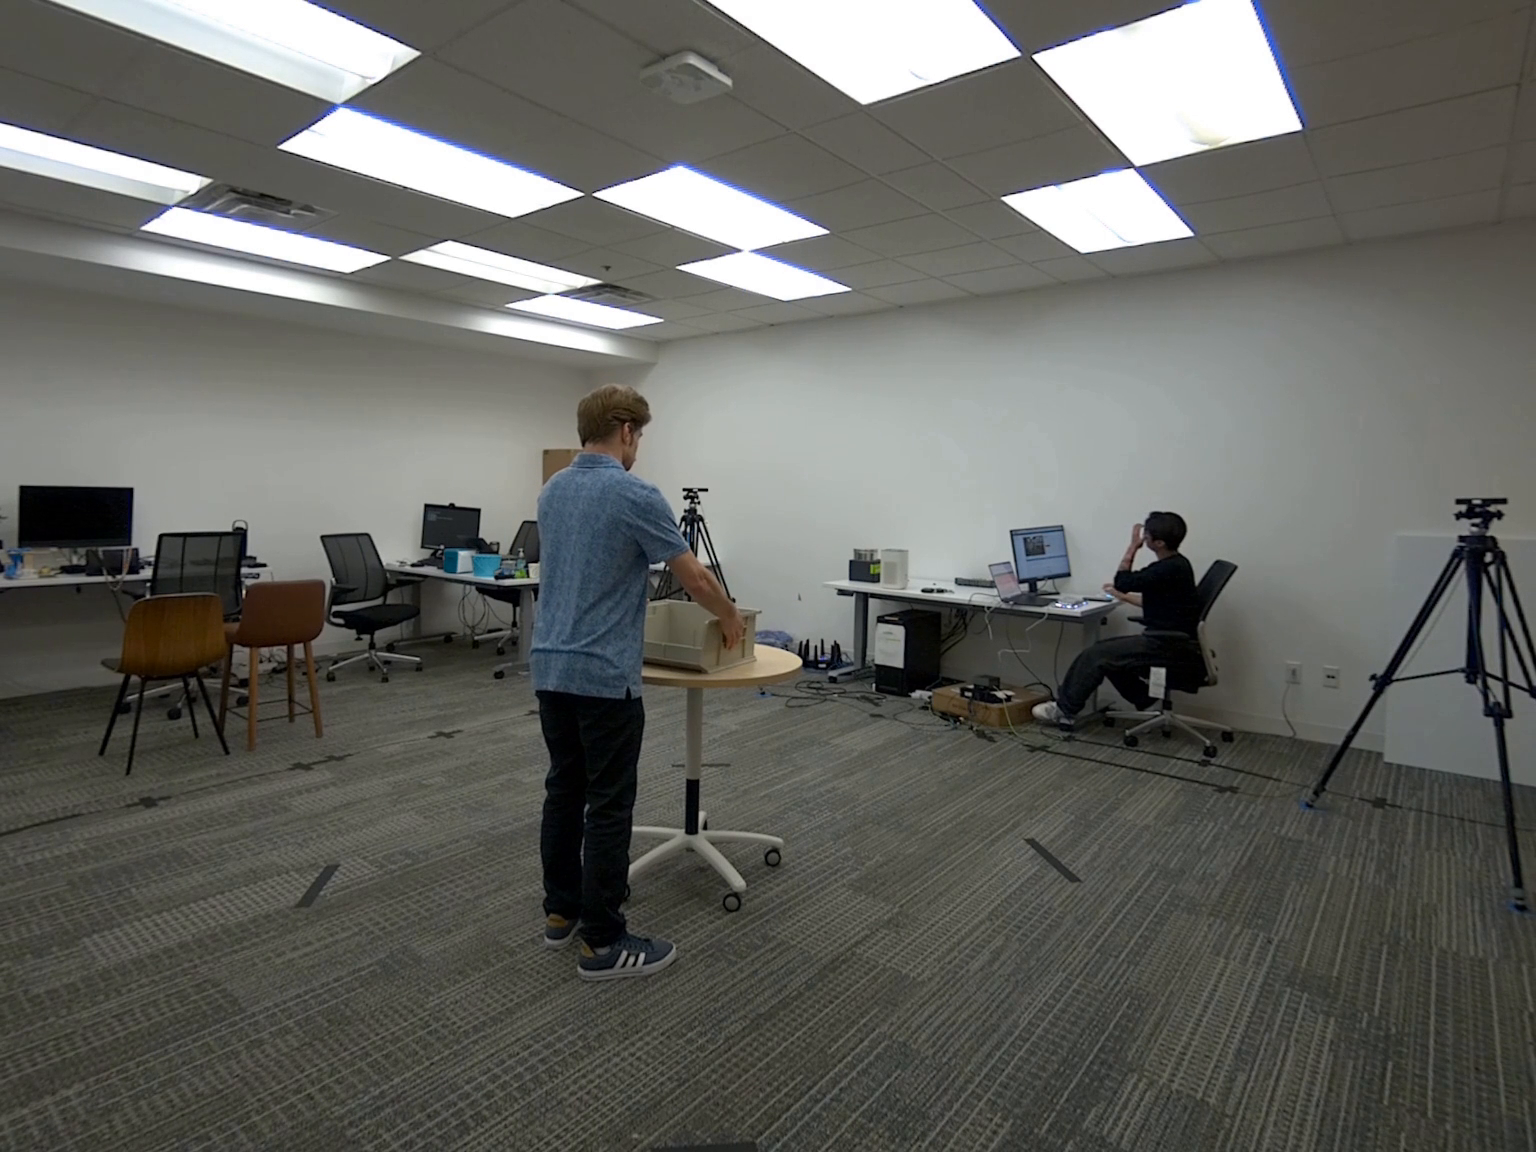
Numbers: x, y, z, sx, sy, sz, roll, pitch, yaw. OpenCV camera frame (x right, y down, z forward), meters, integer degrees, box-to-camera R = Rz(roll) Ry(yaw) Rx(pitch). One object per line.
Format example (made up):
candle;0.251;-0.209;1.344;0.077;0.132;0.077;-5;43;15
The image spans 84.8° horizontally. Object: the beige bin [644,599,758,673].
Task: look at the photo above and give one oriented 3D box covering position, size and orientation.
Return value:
beige bin;-0.312;0.211;3.017;0.435;0.188;0.367;4;5;30
